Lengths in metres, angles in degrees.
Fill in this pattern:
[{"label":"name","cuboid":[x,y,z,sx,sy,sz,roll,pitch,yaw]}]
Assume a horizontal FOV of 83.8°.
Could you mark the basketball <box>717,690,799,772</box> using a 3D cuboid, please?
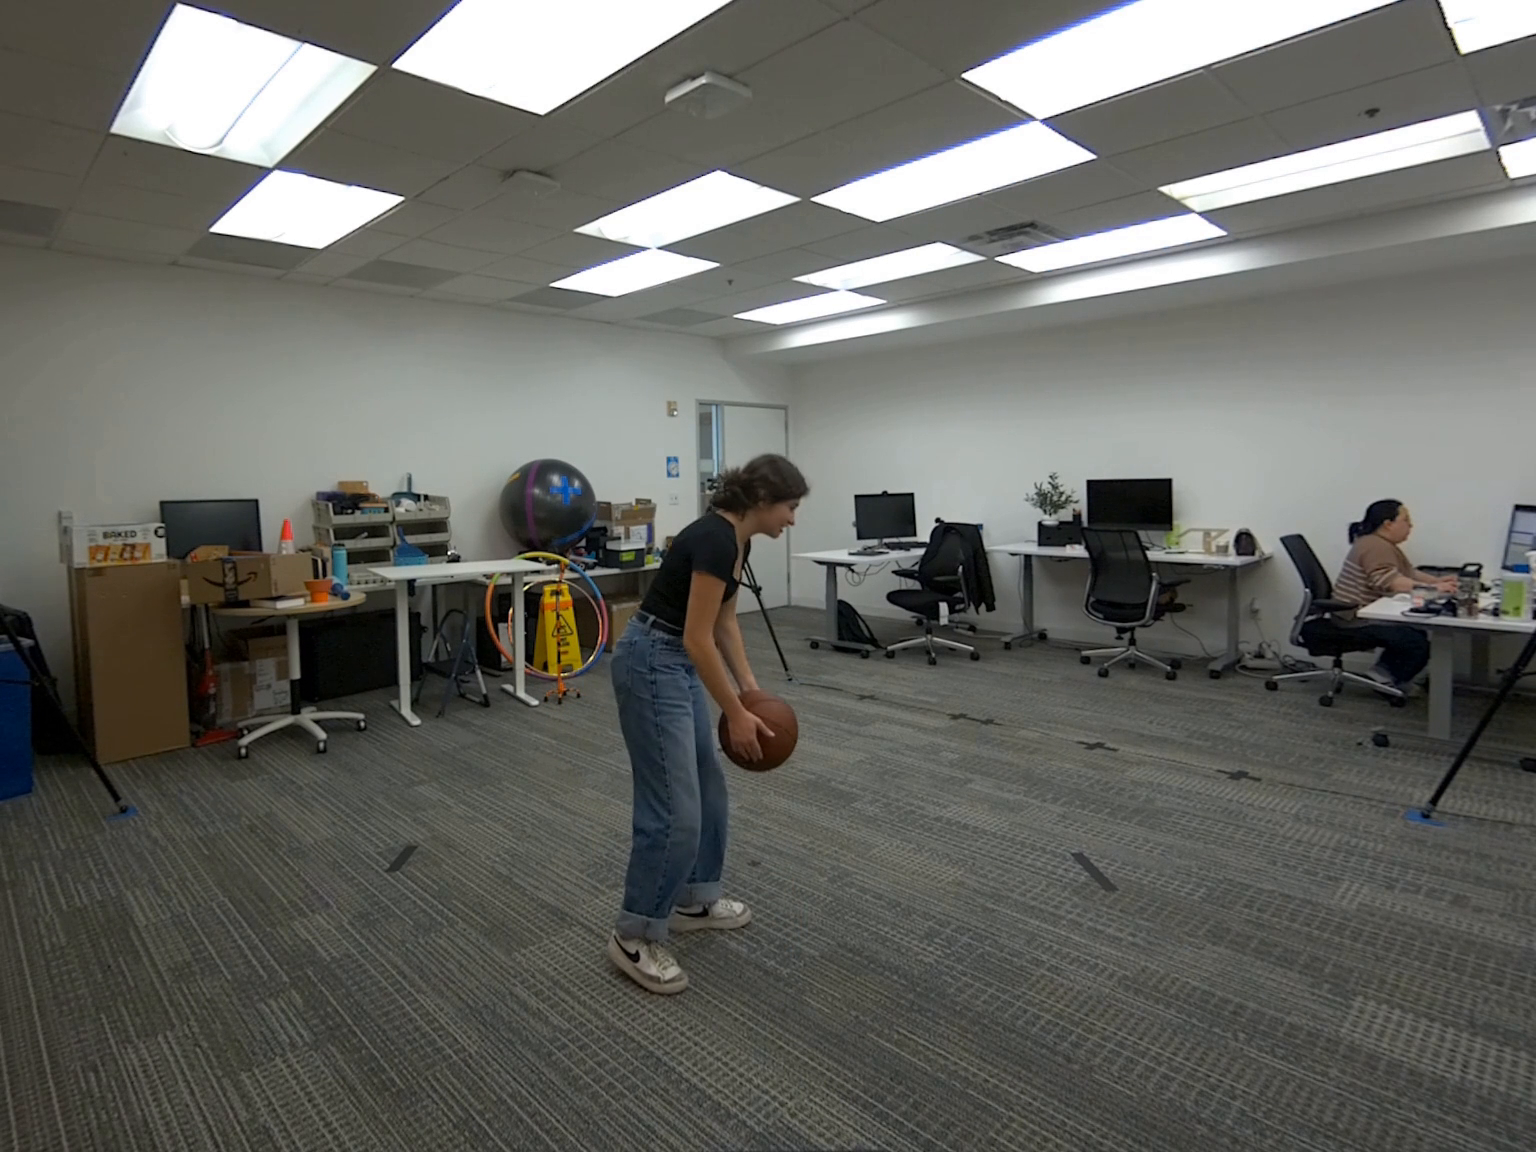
[{"label":"basketball","cuboid":[-0.025,0.461,2.541,0.236,0.235,0.237,-1,5,-2]}]
